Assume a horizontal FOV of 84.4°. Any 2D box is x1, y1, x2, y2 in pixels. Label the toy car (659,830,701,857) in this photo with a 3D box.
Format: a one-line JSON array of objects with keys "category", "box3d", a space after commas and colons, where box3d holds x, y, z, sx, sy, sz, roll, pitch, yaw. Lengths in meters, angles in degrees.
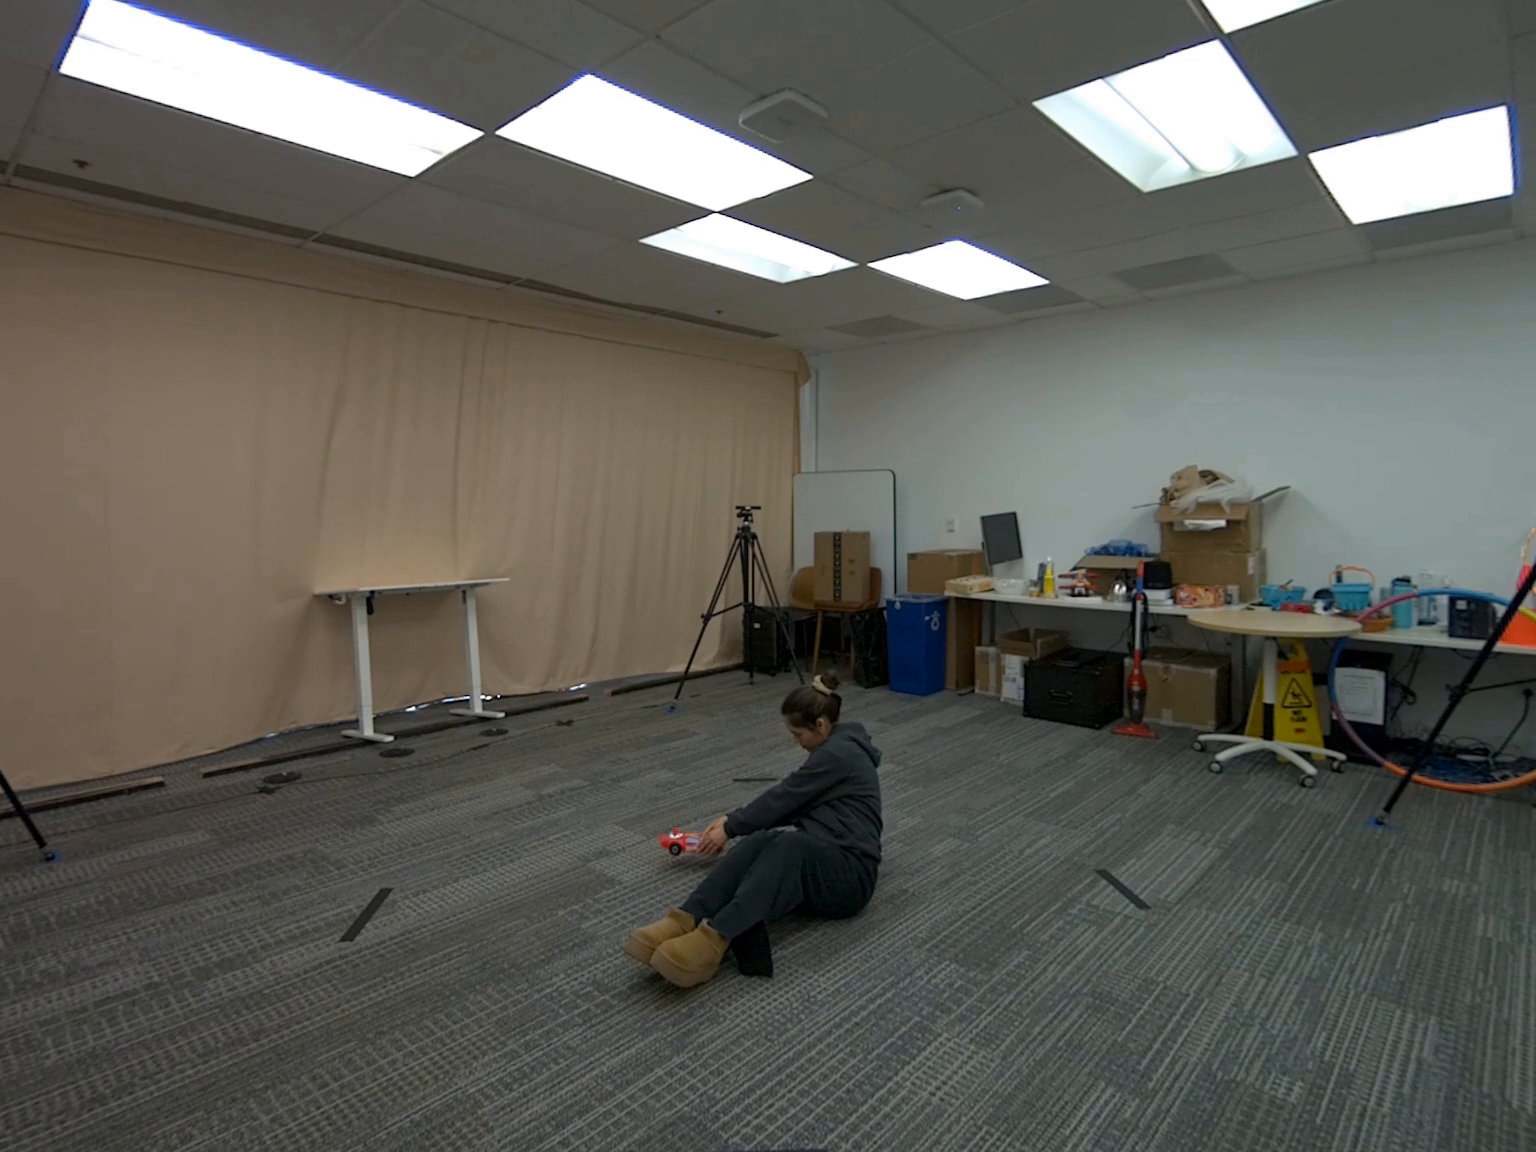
[{"category": "toy car", "box3d": [-0.278, 1.039, 3.255, 0.257, 0.083, 0.129, 11, -4, 8]}]
